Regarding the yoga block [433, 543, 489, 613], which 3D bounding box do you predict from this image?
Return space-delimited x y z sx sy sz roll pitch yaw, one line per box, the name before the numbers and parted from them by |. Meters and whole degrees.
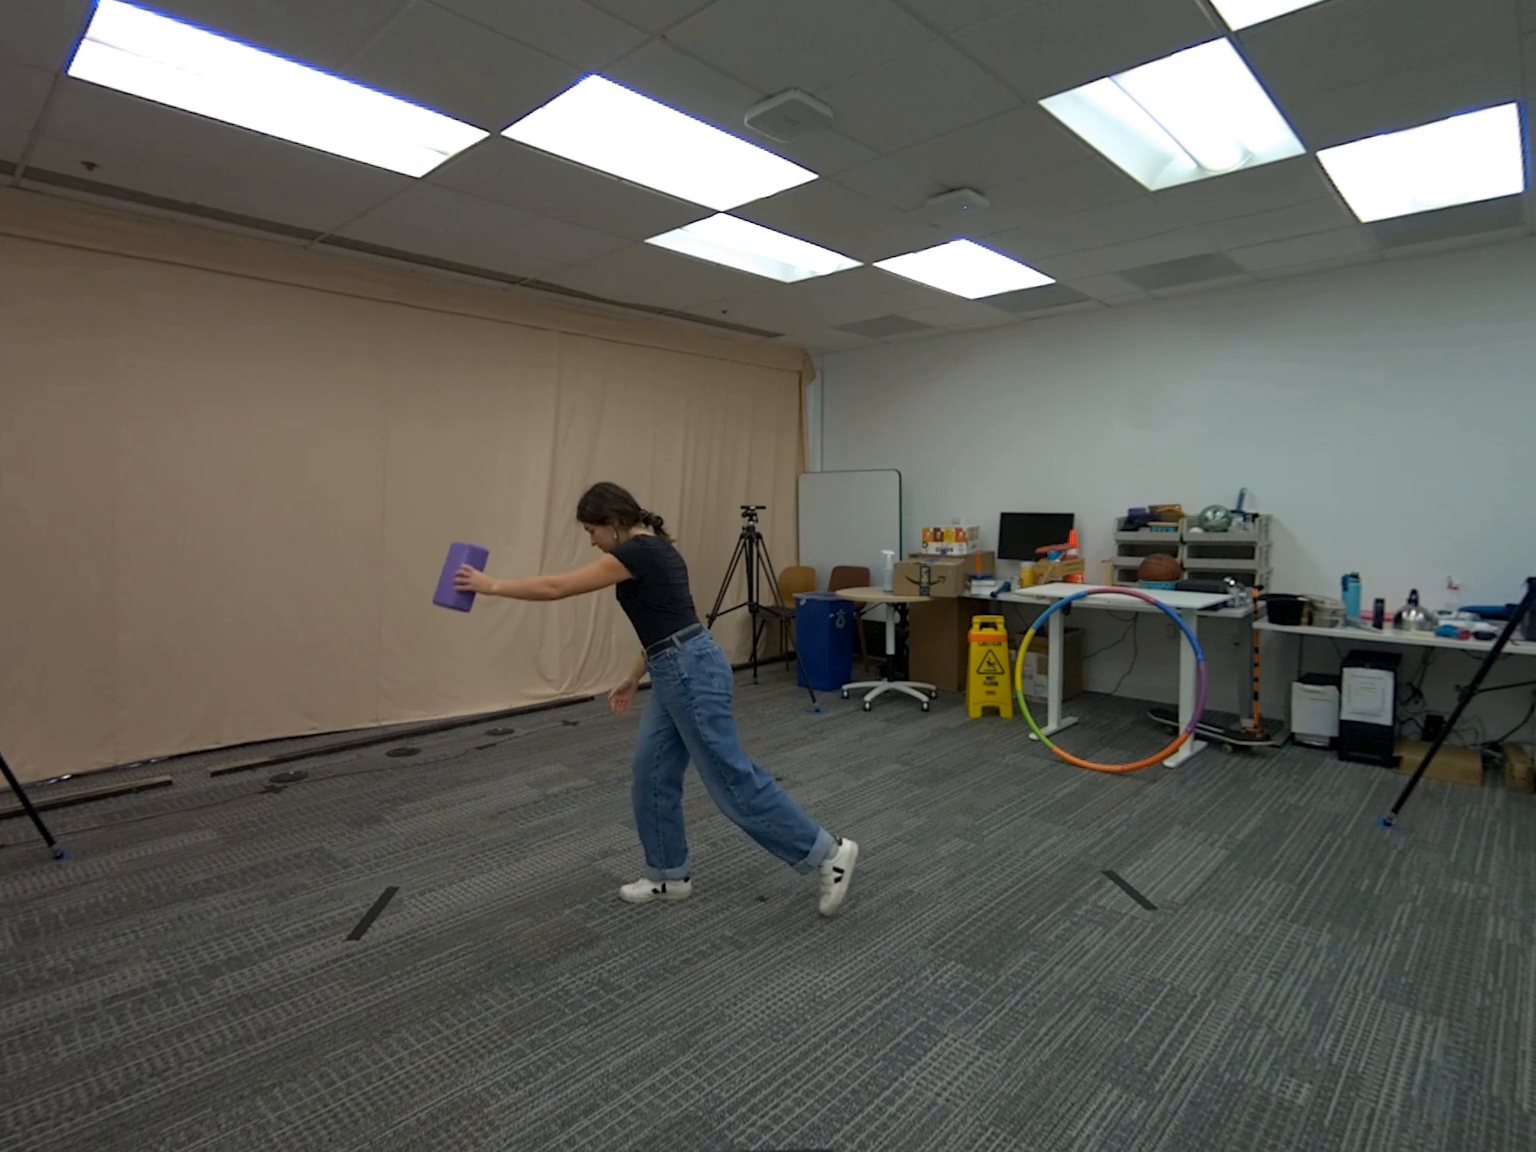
yoga block | -1.041 0.017 2.920 0.154 0.230 0.073 4 -12 41
